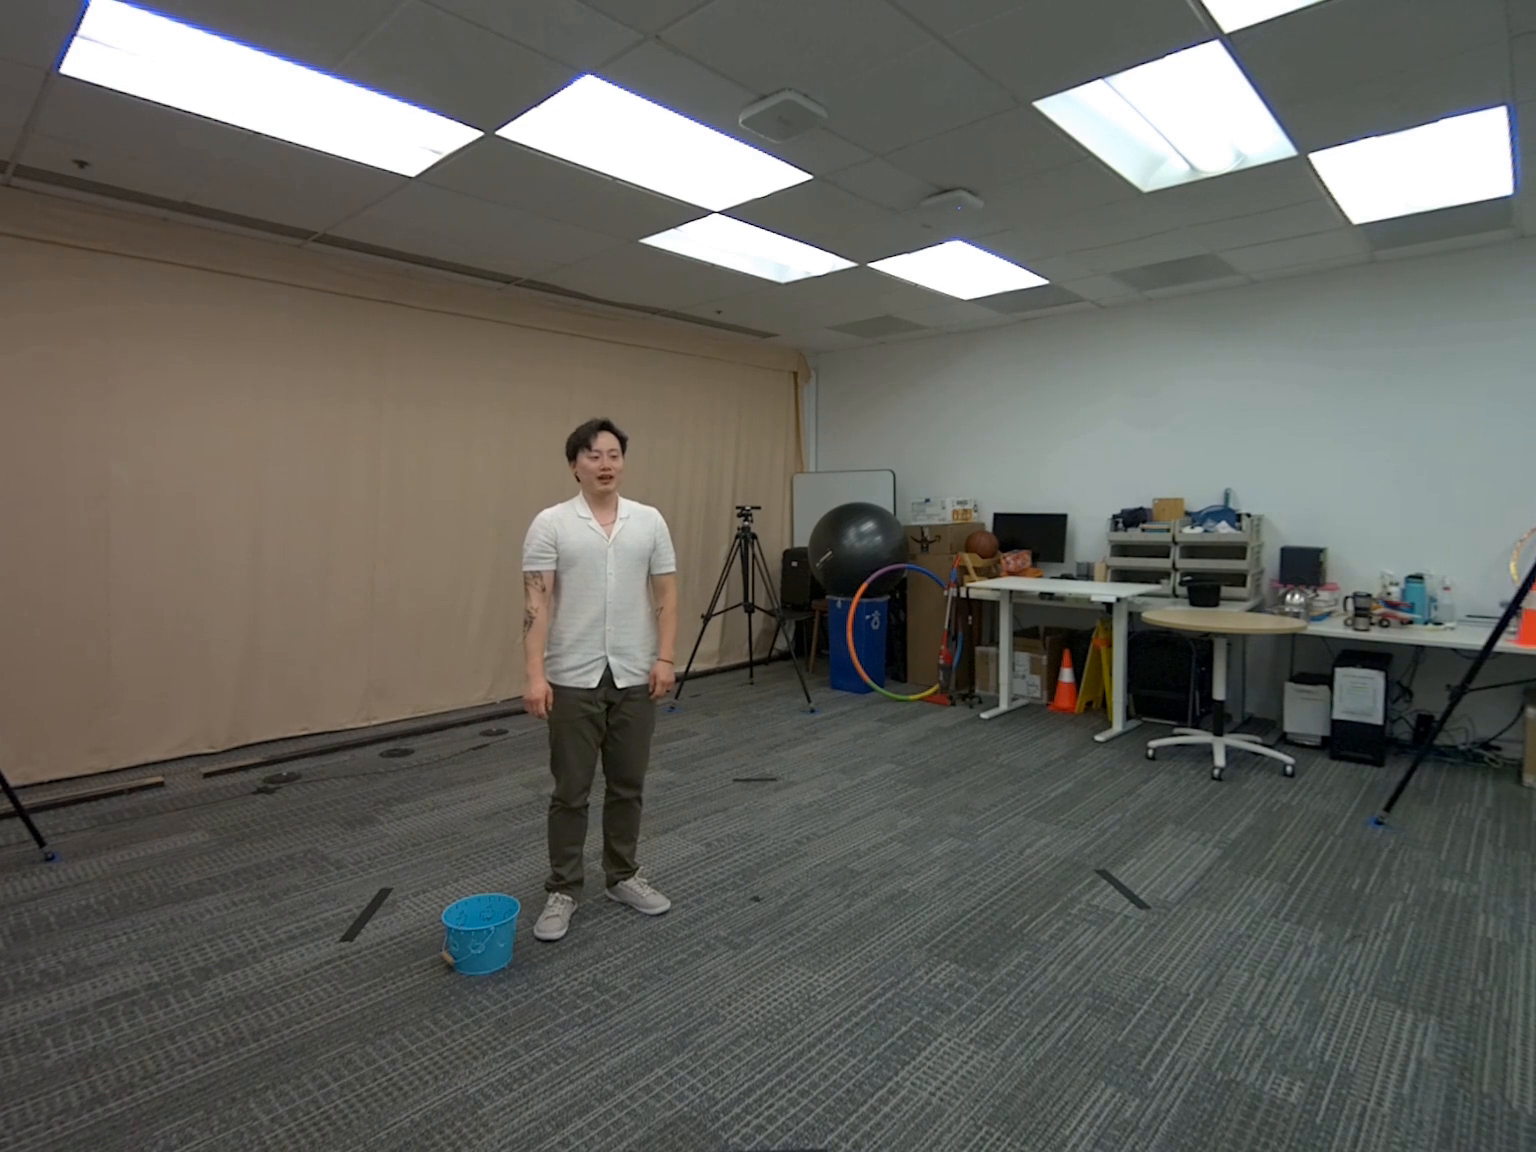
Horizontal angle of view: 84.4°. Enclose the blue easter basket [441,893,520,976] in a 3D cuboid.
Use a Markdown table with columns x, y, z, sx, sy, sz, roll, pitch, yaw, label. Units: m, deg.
| x | y | z | sx | sy | sz | roll | pitch | yaw | label |
| --- | --- | --- | --- | --- | --- | --- | --- | --- | --- |
| -0.889 | 1.107 | 2.596 | 0.243 | 0.155 | 0.244 | 0 | 4 | -2 | blue easter basket |
